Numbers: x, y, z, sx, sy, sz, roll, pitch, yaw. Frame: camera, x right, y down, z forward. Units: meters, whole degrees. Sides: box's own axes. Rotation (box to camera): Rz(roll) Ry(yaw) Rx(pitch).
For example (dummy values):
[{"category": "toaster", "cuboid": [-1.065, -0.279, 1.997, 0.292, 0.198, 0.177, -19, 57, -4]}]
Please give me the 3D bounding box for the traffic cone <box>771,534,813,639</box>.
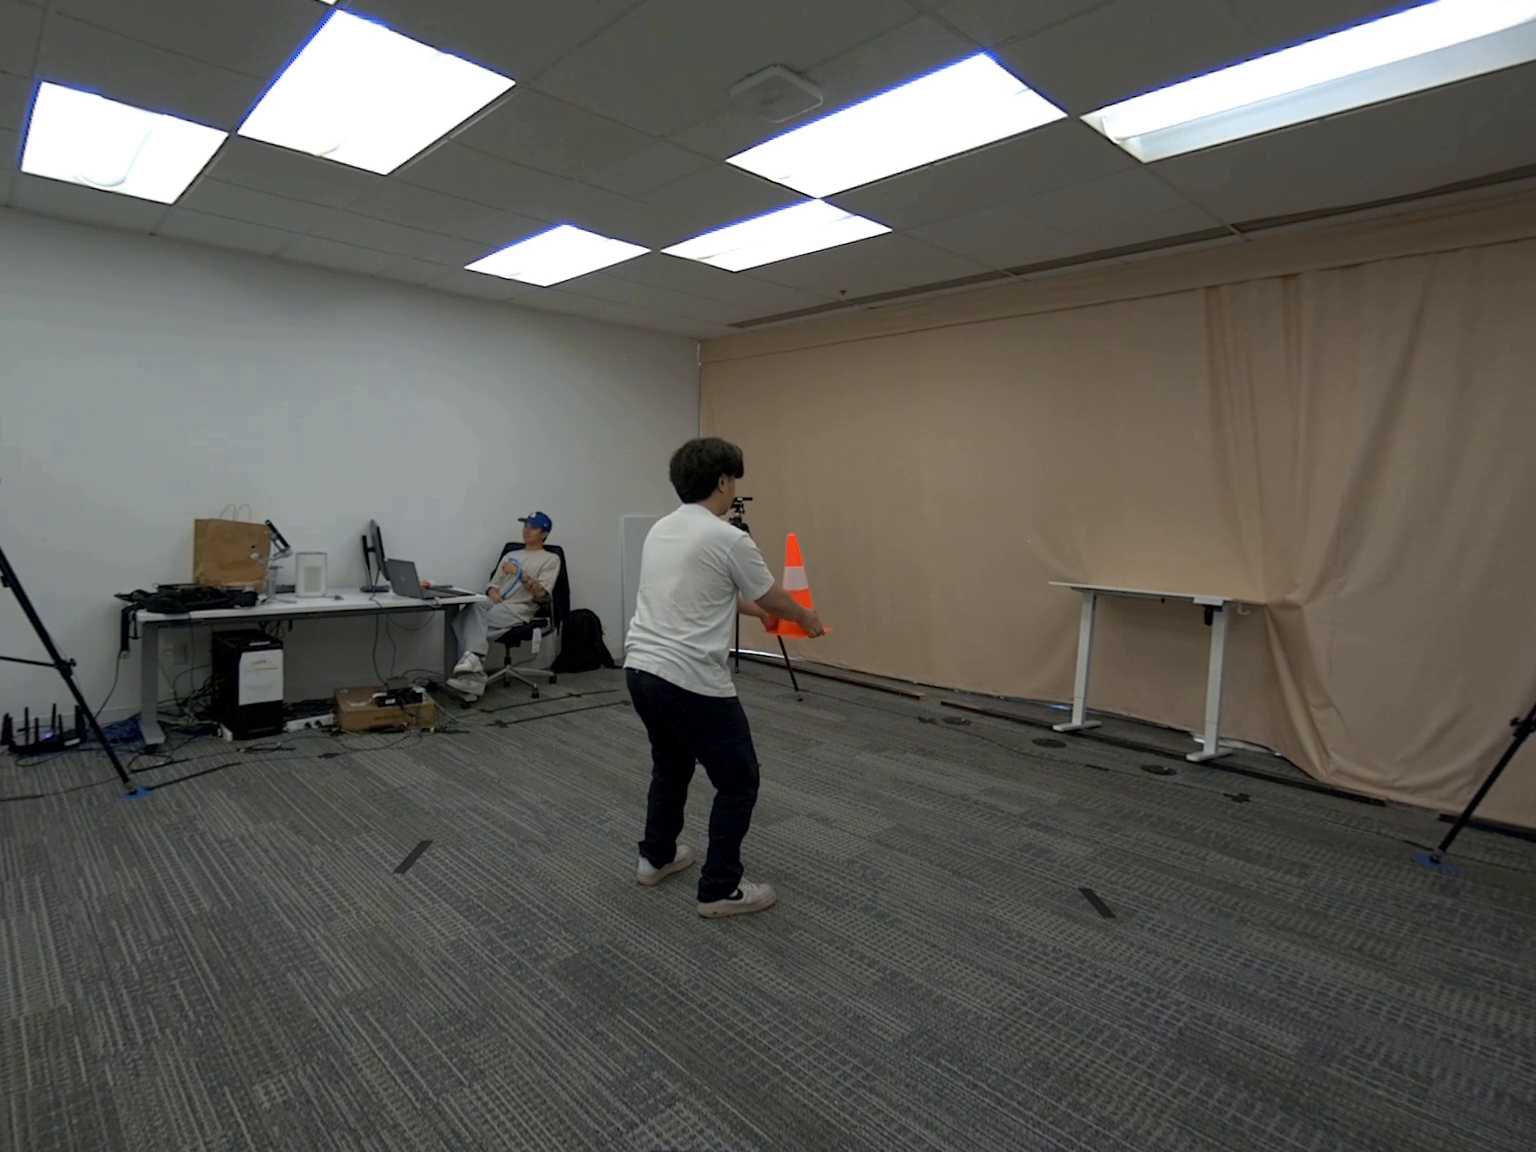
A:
[{"category": "traffic cone", "cuboid": [0.096, 0.030, 3.266, 0.209, 0.382, 0.199, 1, 5, 31]}]
